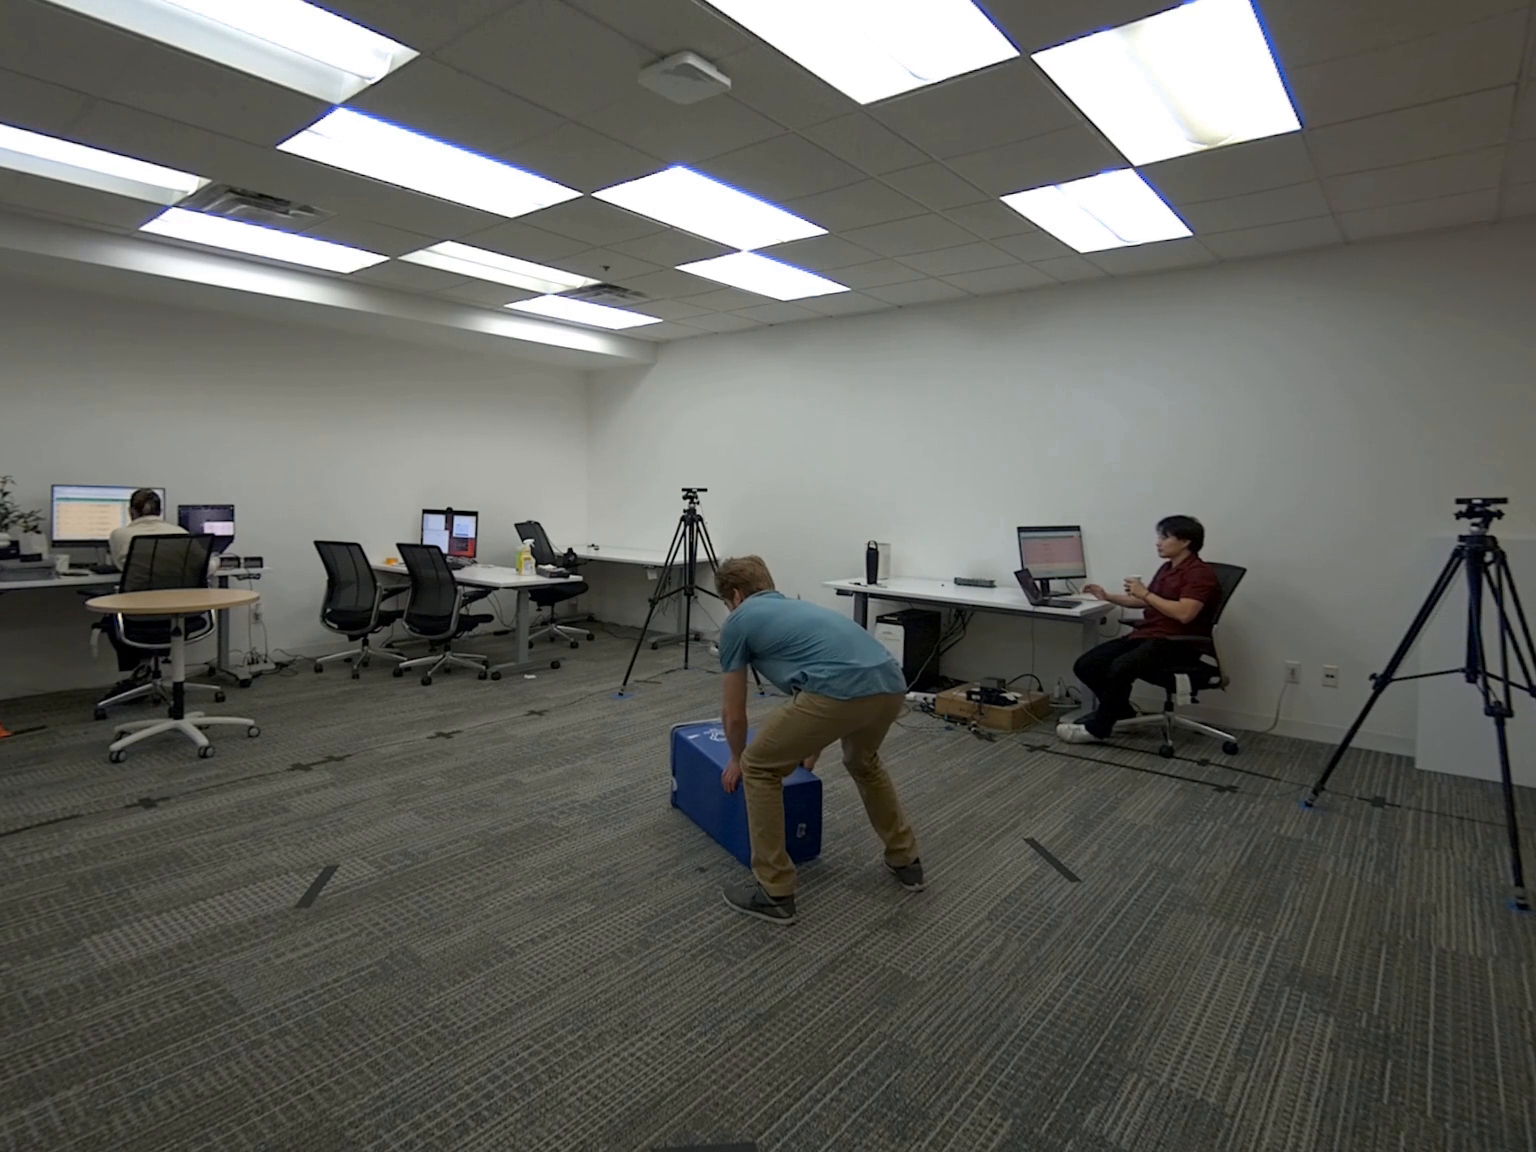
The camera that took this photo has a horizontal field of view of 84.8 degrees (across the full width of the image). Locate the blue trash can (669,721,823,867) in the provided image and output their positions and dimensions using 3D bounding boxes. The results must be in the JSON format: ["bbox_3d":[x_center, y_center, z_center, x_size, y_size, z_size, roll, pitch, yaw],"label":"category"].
[{"bbox_3d":[-0.106,0.869,3.461,0.365,0.375,0.736,-3,9,-28],"label":"blue trash can"}]
